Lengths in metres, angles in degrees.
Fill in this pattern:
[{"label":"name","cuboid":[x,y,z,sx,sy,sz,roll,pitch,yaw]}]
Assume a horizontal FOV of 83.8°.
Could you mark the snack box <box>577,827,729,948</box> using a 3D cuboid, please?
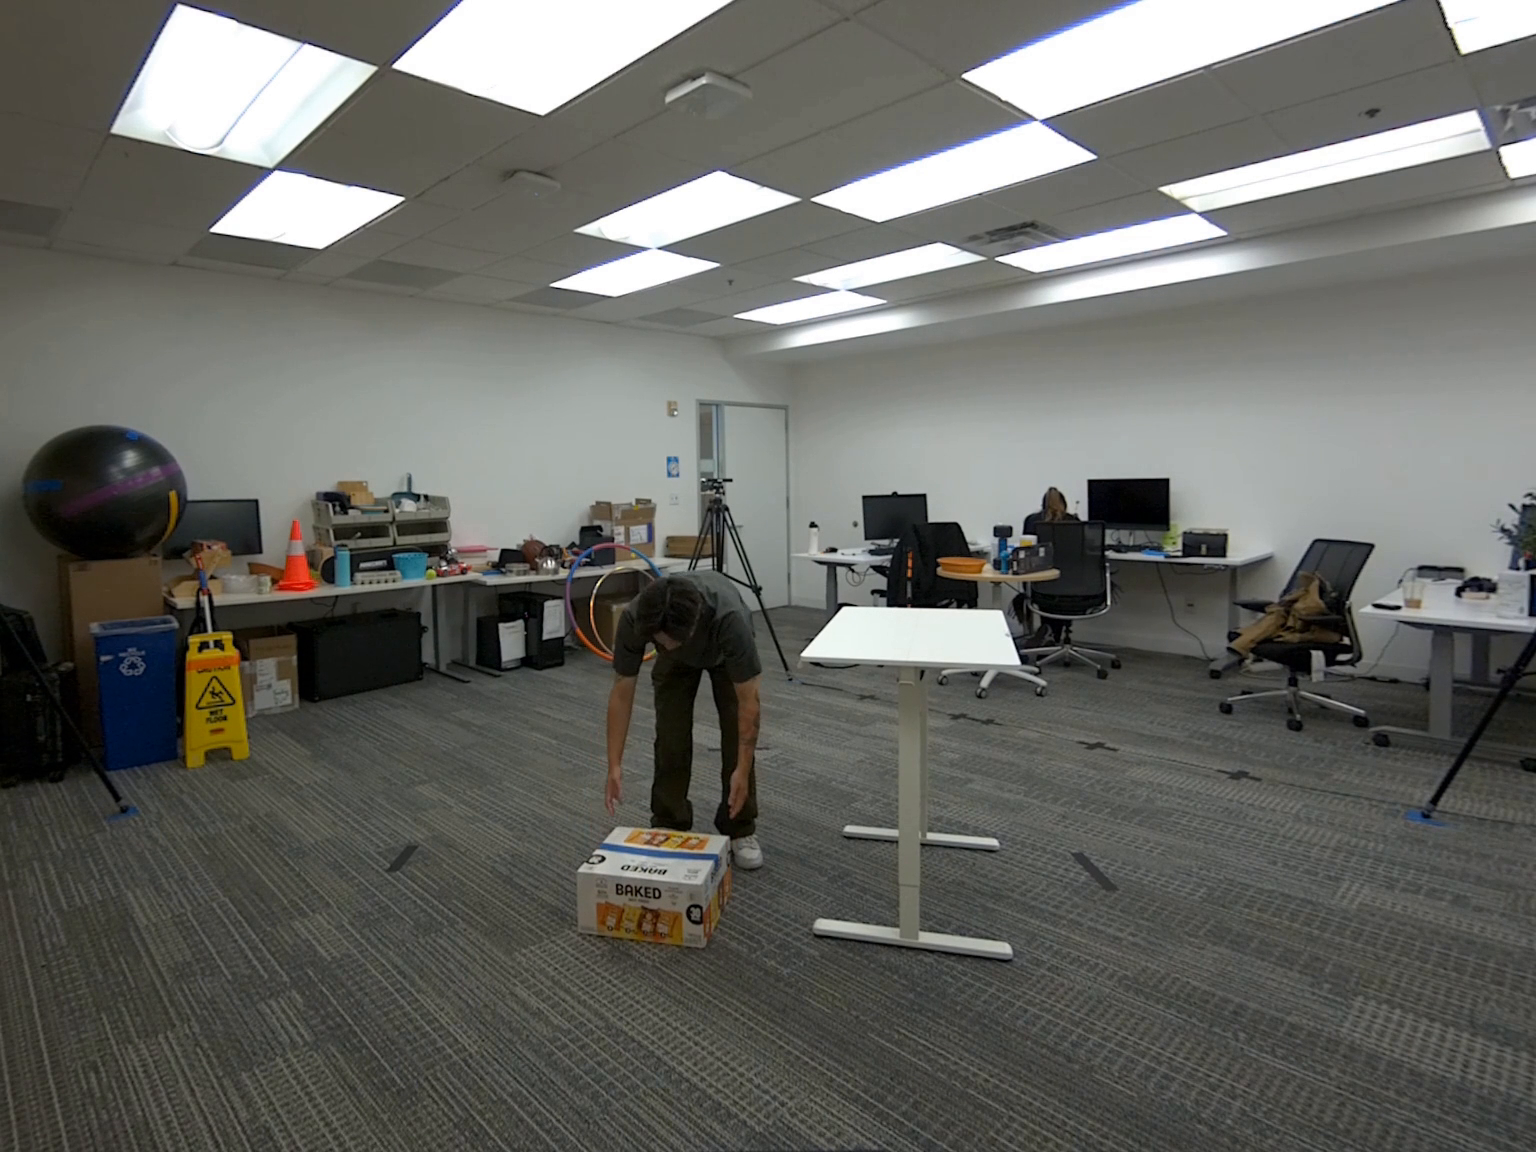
[{"label":"snack box","cuboid":[-0.363,0.987,2.747,0.410,0.205,0.338,0,6,12]}]
